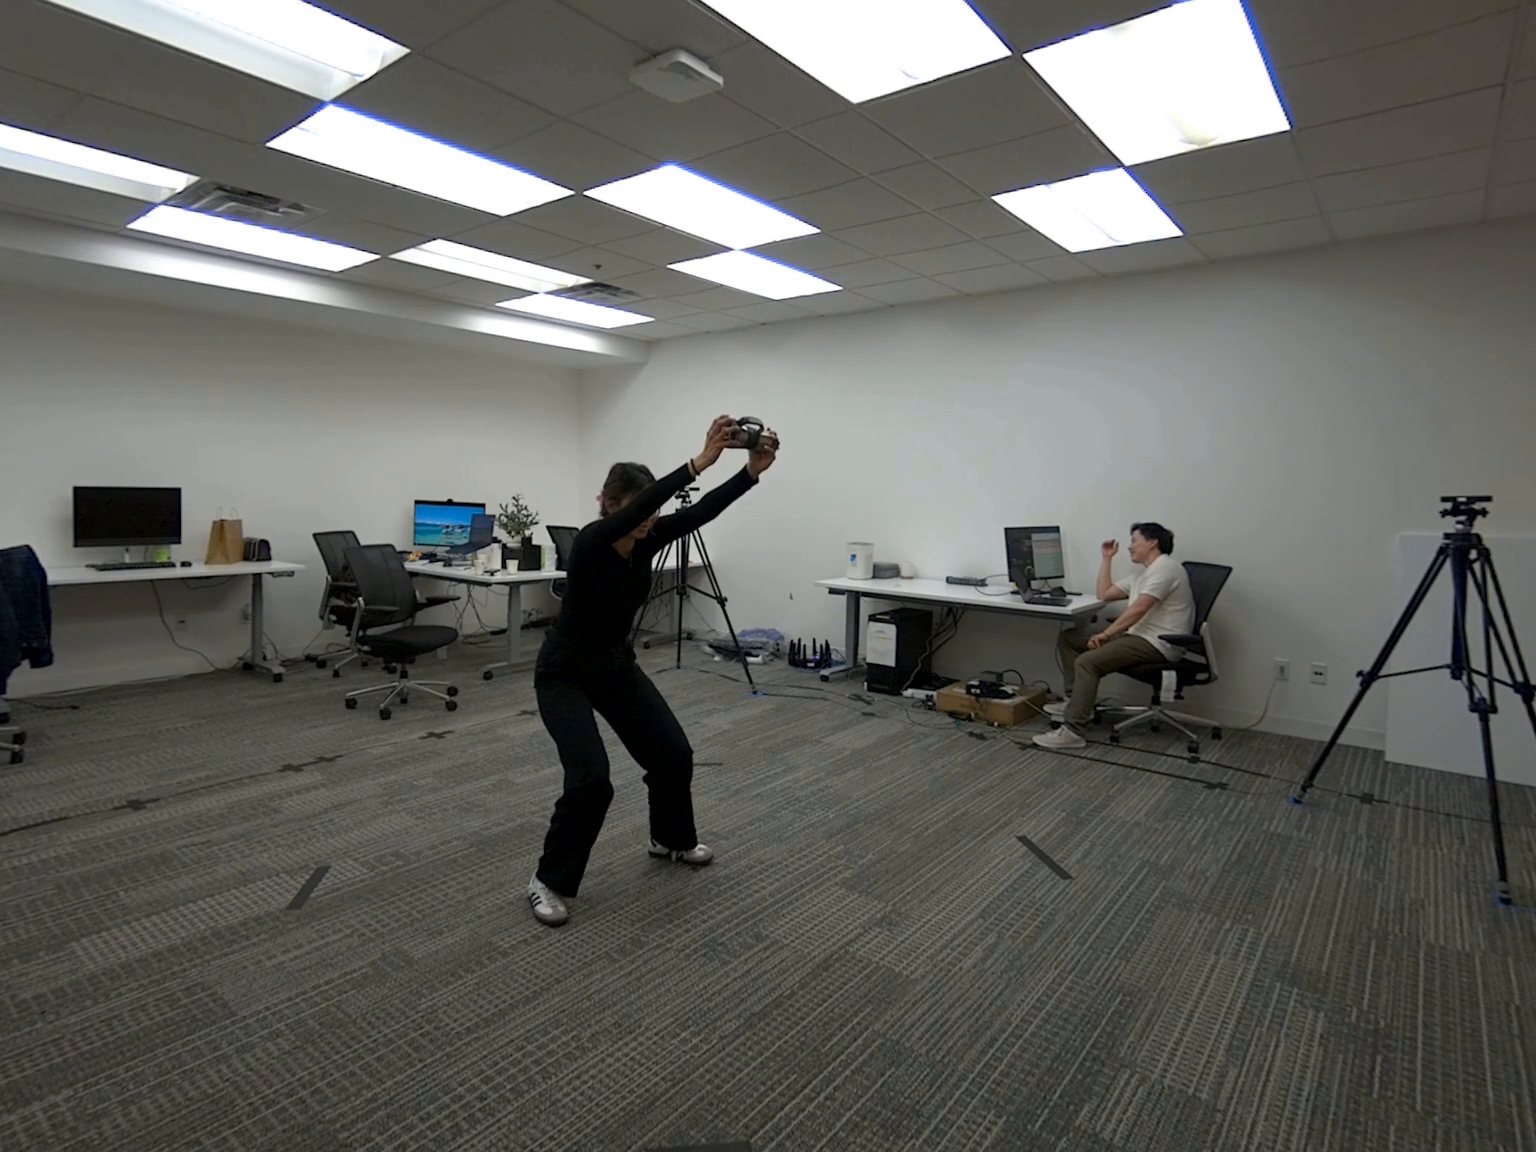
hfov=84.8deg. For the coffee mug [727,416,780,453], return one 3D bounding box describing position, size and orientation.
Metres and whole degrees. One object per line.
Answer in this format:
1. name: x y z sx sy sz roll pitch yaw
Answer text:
1. coffee mug: -0.068 -0.419 2.555 0.196 0.088 0.126 10 -8 -42
